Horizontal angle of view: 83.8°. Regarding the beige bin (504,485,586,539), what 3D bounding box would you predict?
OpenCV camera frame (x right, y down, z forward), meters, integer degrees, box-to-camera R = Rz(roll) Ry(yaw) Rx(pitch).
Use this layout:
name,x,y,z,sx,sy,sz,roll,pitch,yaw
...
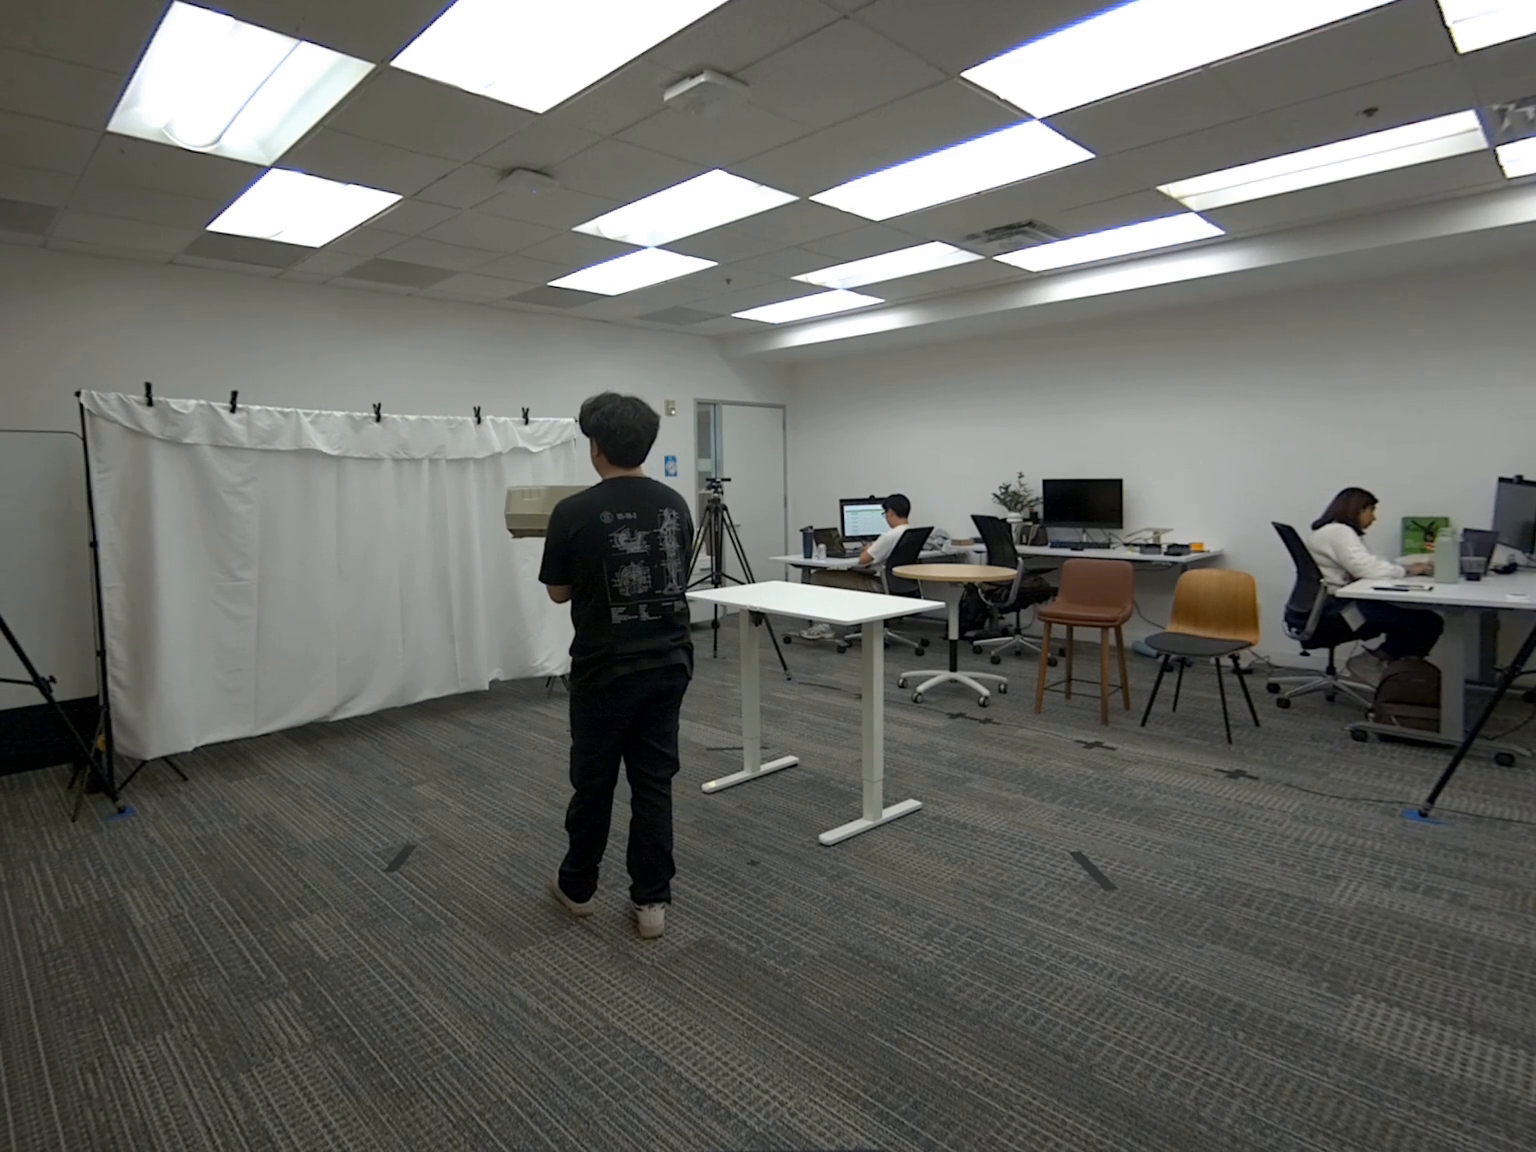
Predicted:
name,x,y,z,sx,sy,sz,roll,pitch,yaw
beige bin,-0.657,-0.221,2.996,0.427,0.188,0.375,0,6,10
